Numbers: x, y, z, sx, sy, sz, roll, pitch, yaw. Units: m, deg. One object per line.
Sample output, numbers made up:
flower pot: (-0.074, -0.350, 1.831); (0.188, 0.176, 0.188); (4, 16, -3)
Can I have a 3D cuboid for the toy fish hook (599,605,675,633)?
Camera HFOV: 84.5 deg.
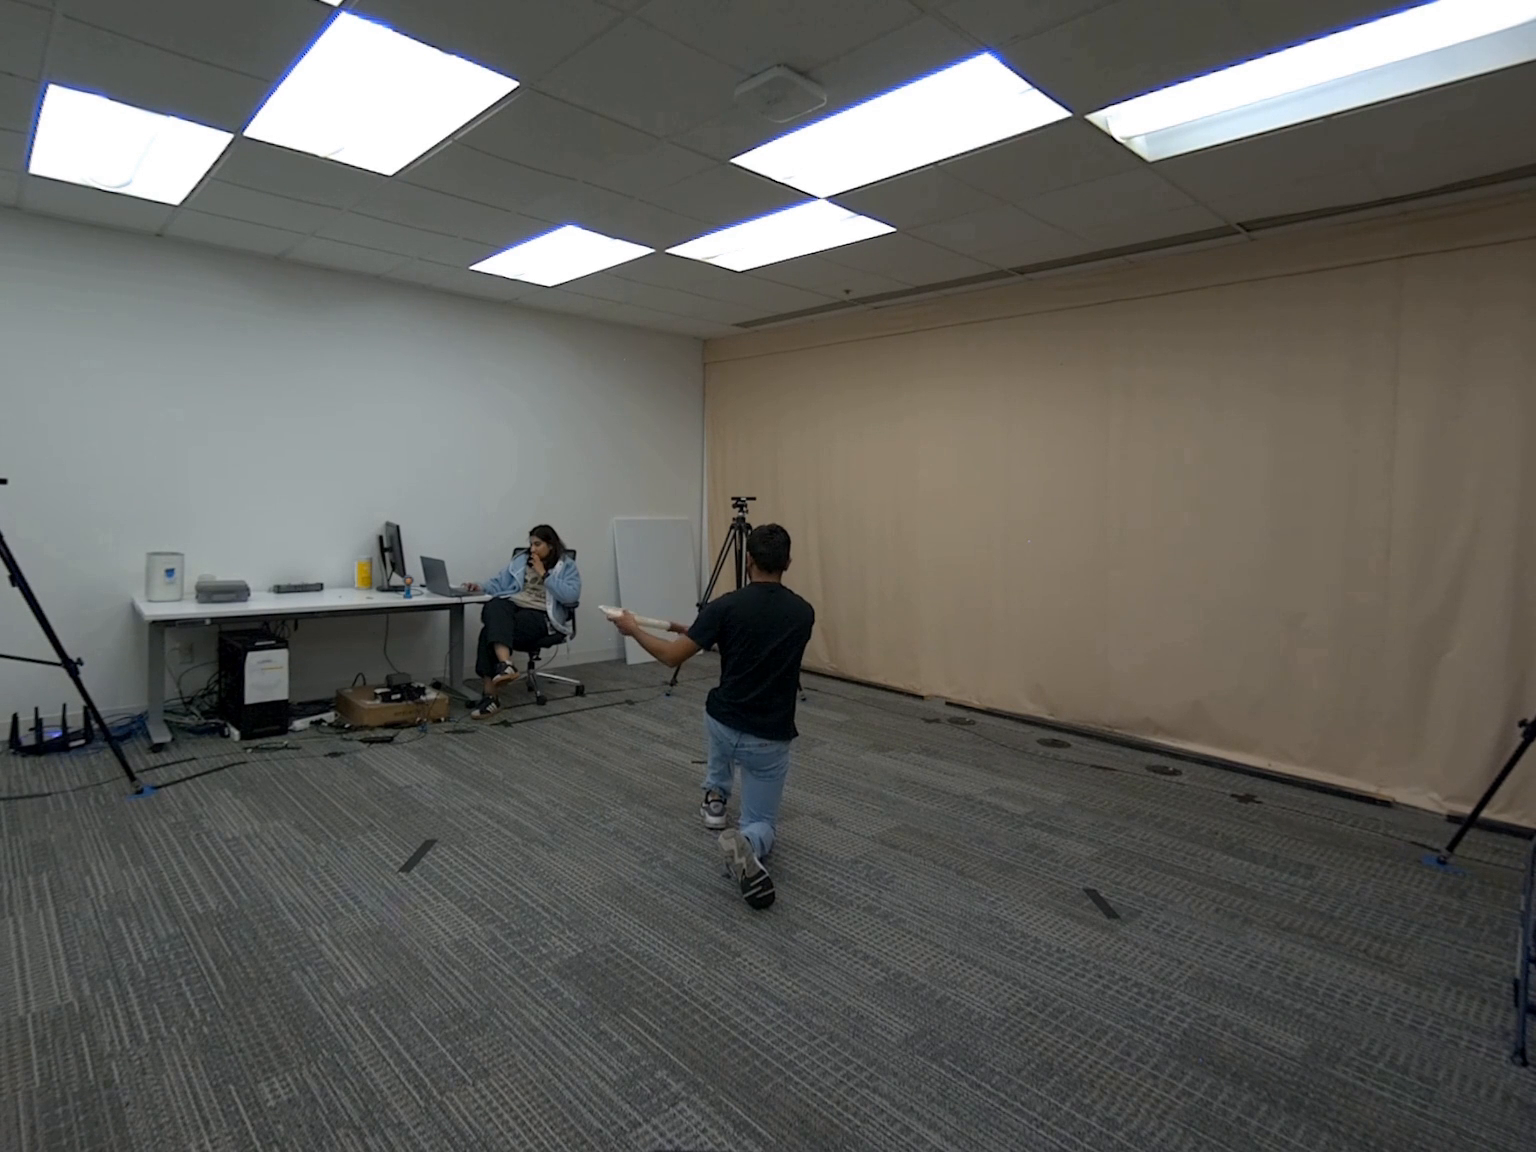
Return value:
toy fish hook: (-0.484, 0.214, 3.731); (0.494, 0.048, 0.230); (16, 7, -28)
